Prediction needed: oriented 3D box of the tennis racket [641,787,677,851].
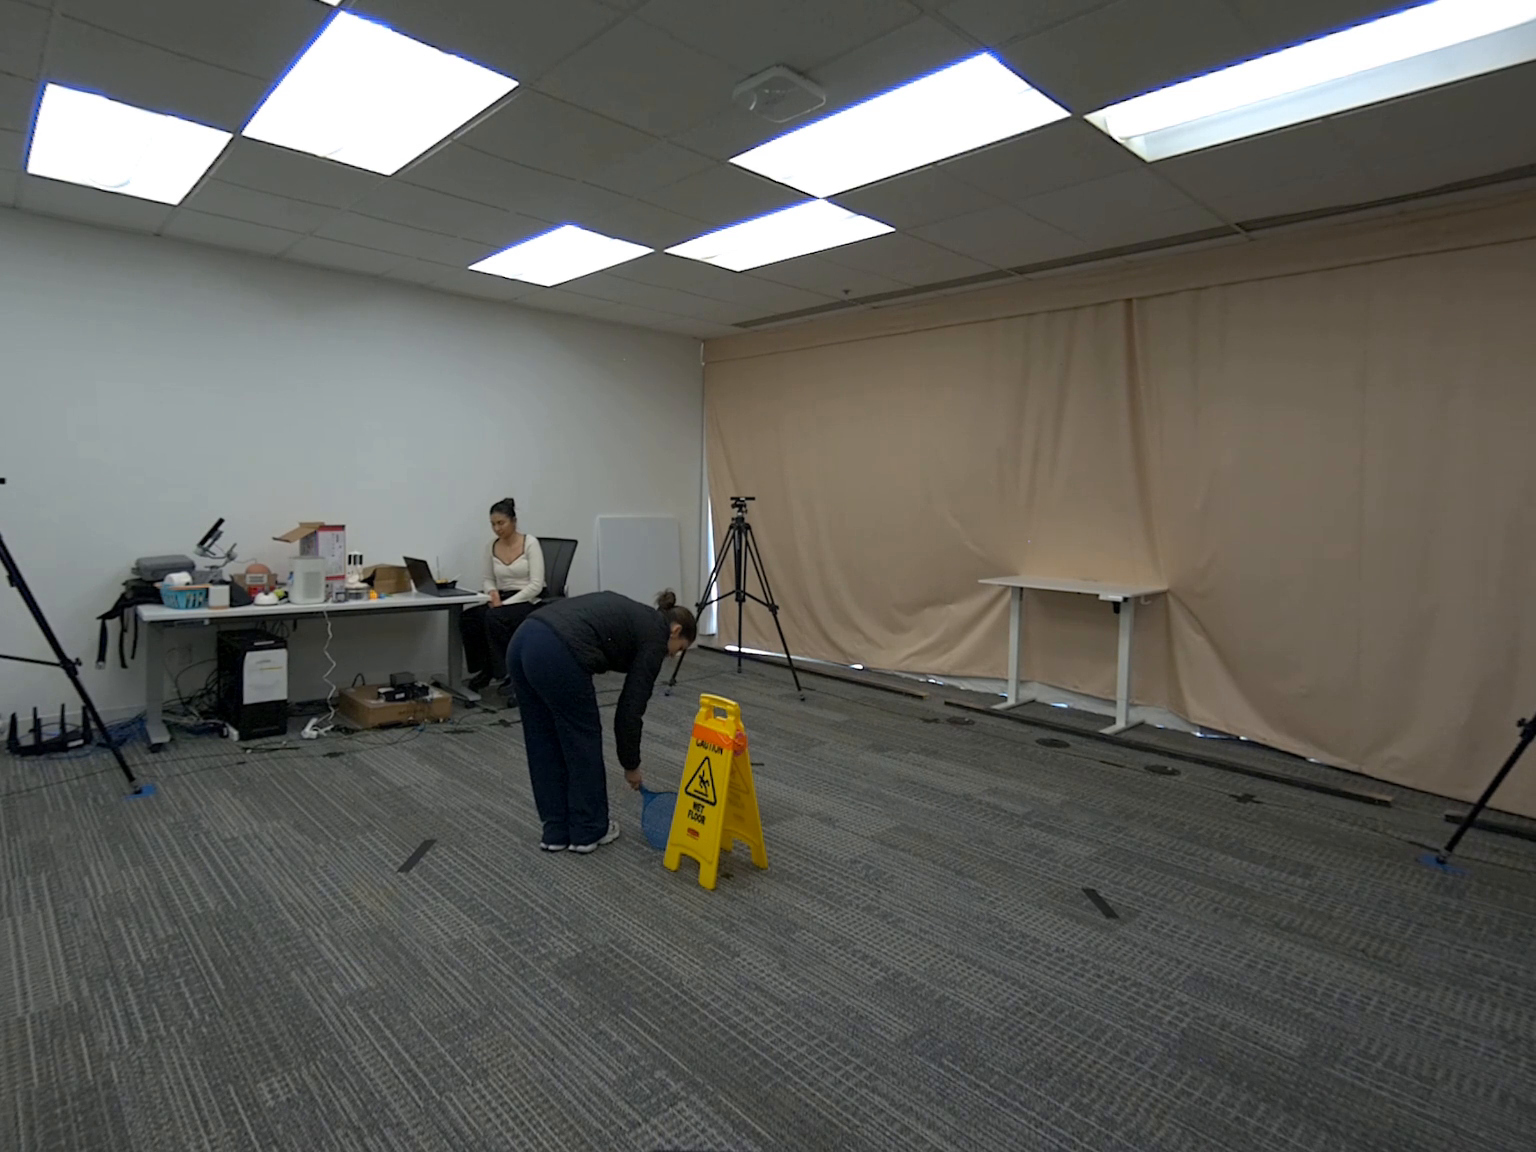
[{"bbox_3d":[-0.444,0.952,3.393,0.447,0.213,0.031,32,-19,42],"label":"tennis racket"}]
